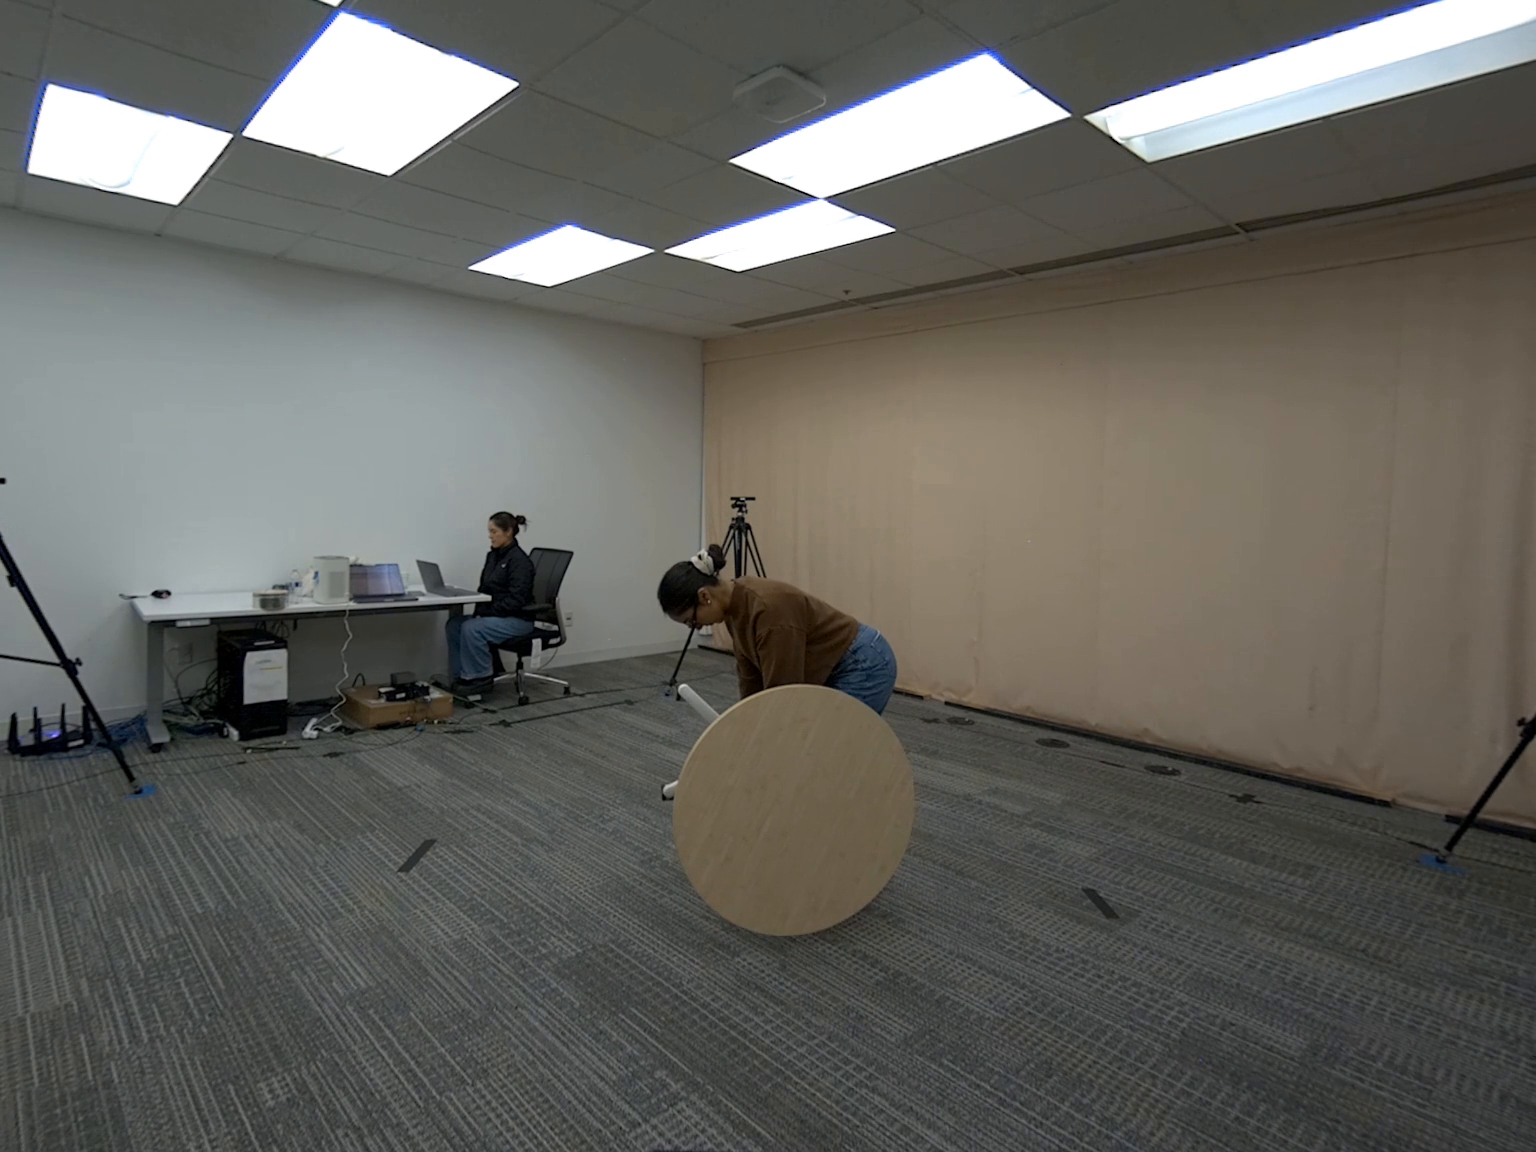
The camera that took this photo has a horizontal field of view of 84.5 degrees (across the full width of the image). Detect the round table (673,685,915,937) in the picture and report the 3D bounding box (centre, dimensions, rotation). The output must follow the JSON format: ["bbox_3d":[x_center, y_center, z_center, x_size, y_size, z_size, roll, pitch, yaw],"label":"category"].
[{"bbox_3d":[-0.012,0.697,2.949,0.755,0.763,0.804,0,2,-14],"label":"round table"}]
